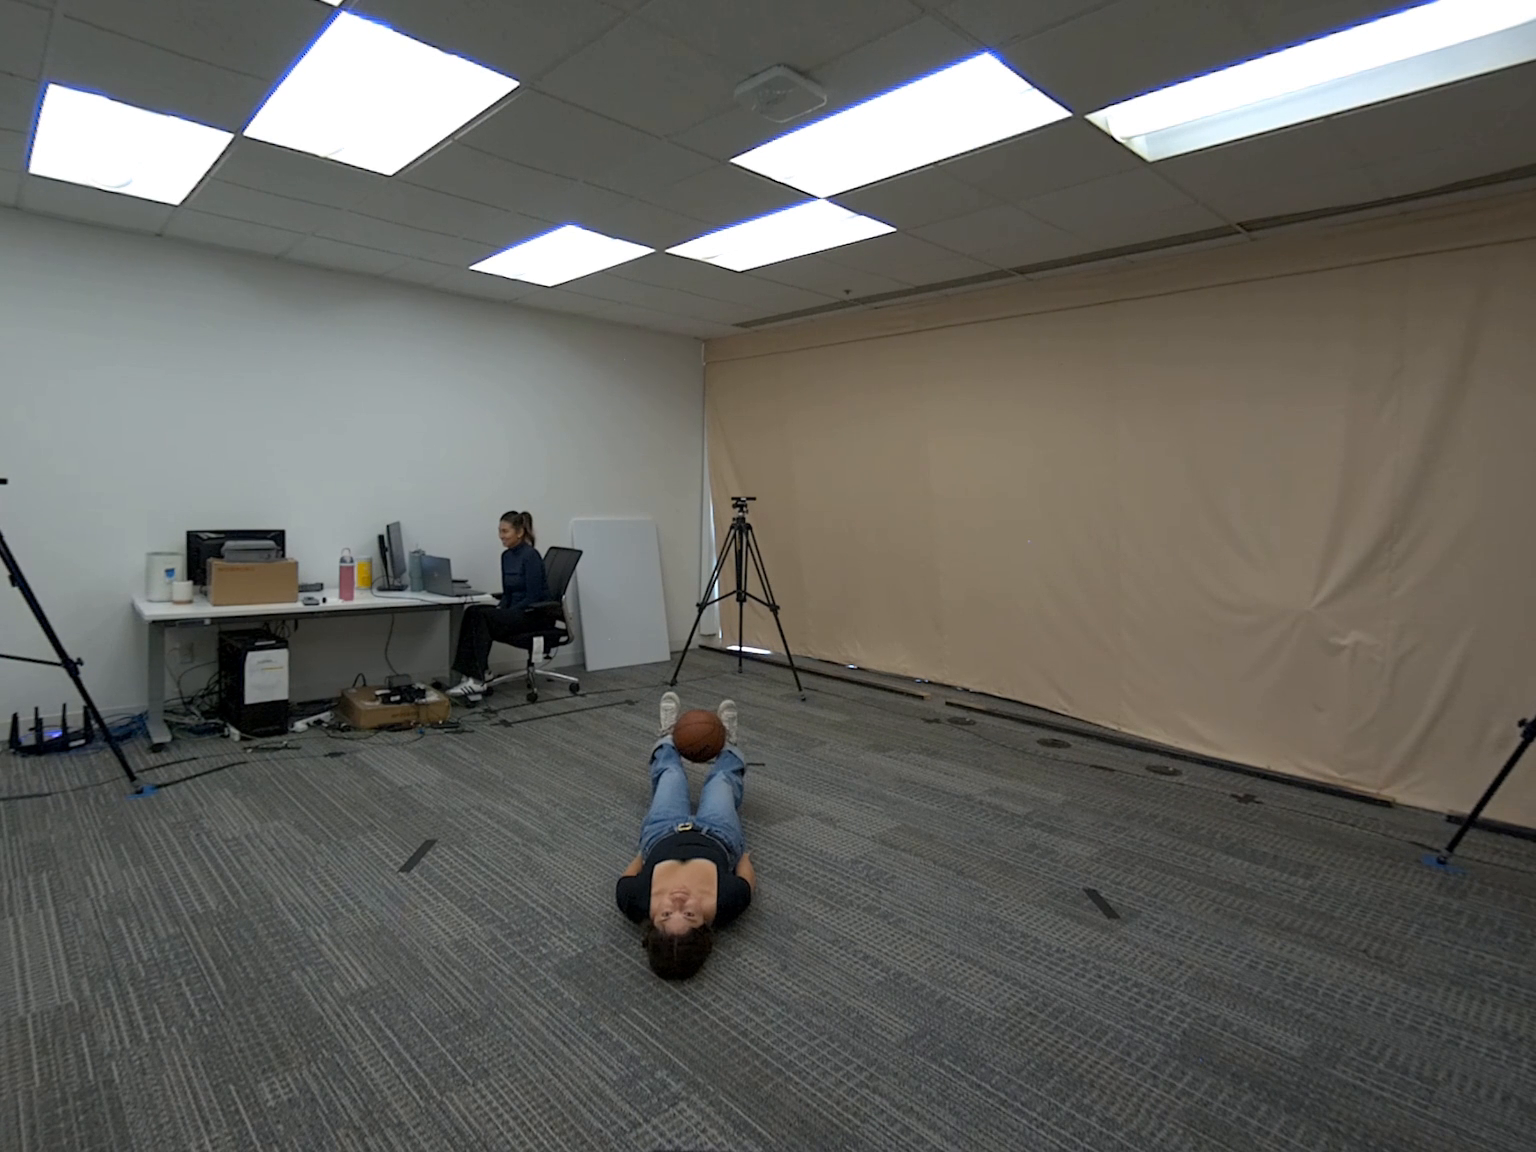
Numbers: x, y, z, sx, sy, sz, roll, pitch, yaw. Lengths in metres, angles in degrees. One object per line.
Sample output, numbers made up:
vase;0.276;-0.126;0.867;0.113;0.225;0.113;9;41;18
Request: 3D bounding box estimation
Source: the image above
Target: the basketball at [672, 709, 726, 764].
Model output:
basketball;-0.323;0.722;3.832;0.236;0.235;0.237;1;4;-1
